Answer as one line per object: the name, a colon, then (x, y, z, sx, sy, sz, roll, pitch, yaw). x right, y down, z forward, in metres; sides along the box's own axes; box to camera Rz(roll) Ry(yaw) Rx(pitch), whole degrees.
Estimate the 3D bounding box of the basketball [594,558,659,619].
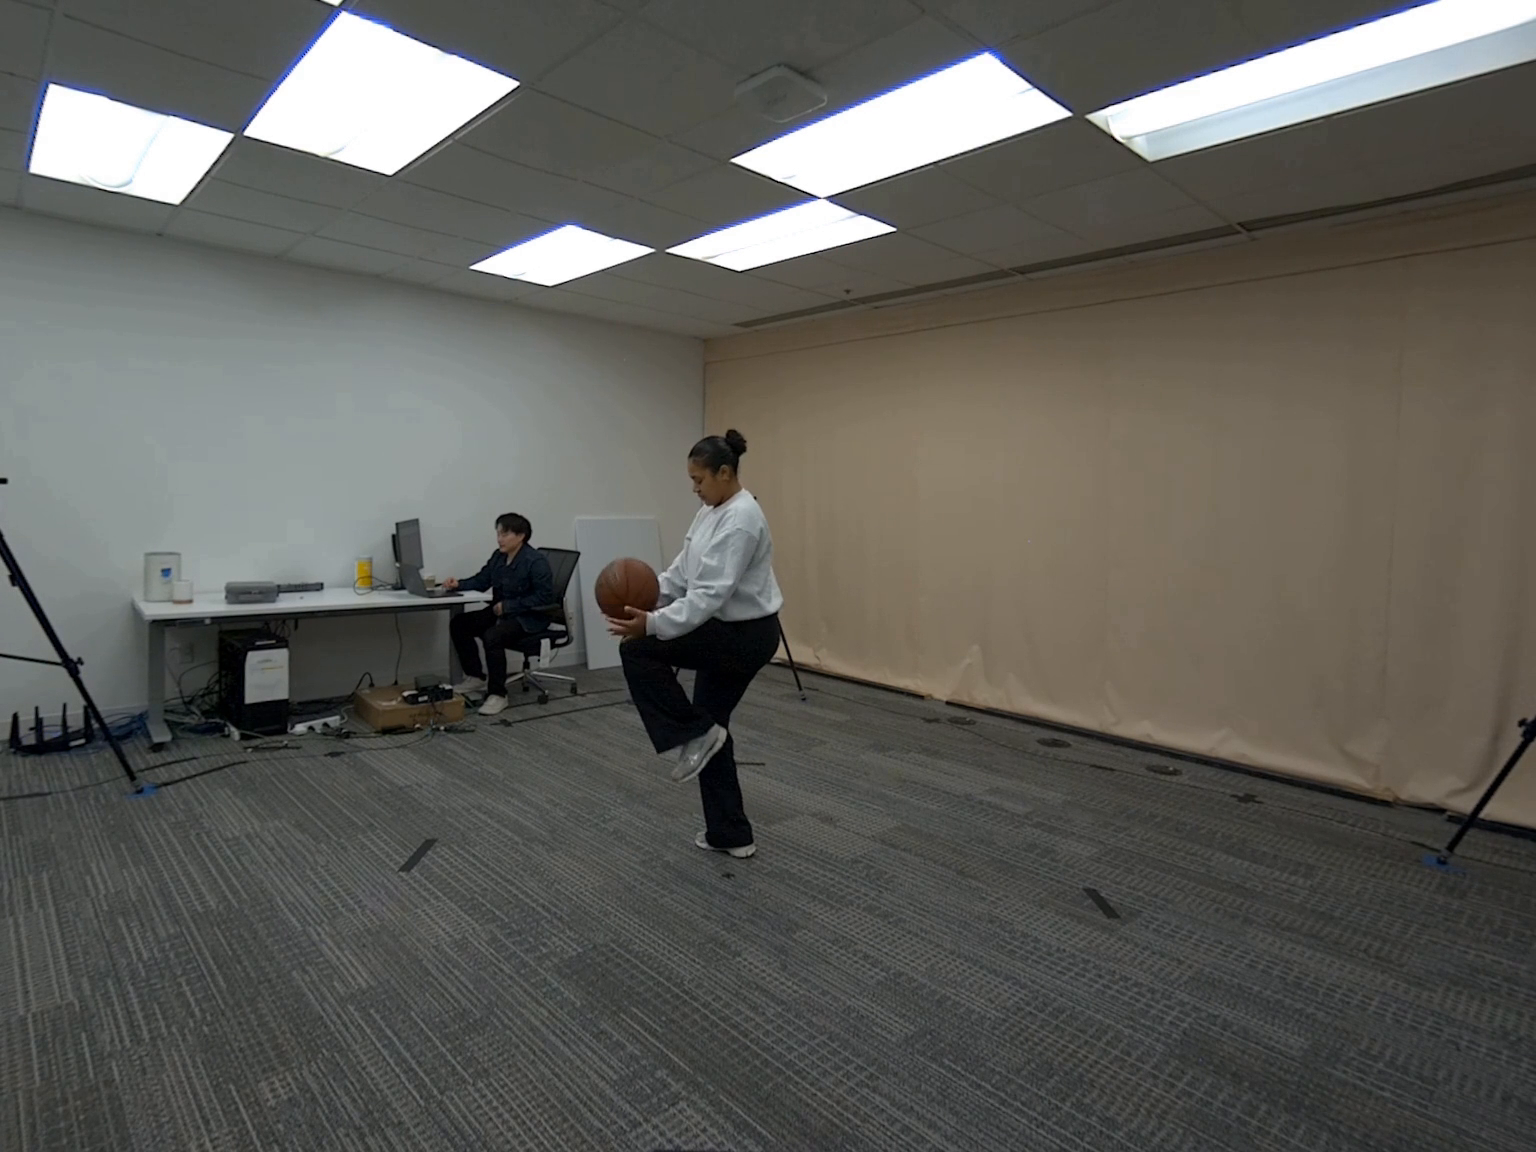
basketball: (-0.541, 0.027, 3.097, 0.236, 0.235, 0.237, 1, 4, -1)
